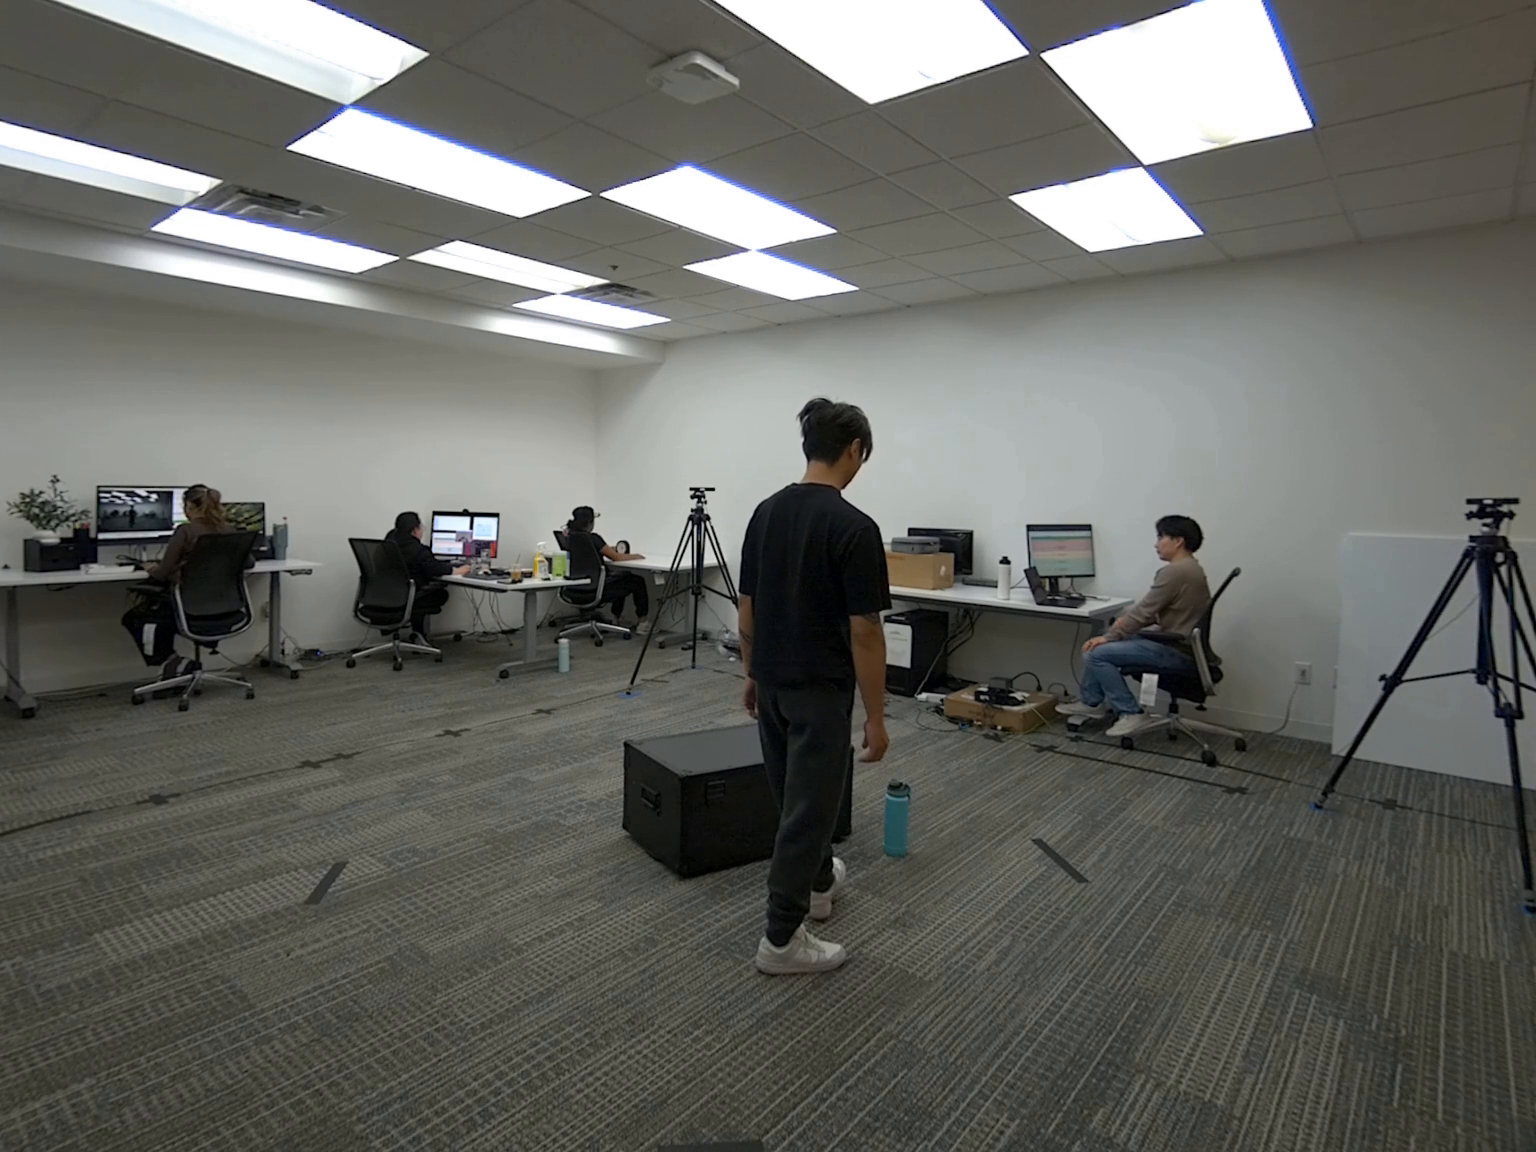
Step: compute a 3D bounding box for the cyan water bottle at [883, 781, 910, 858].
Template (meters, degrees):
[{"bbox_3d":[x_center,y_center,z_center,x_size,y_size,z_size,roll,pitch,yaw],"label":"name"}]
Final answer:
[{"bbox_3d":[0.493,0.925,3.285,0.092,0.283,0.092,2,2,-2],"label":"cyan water bottle"}]
